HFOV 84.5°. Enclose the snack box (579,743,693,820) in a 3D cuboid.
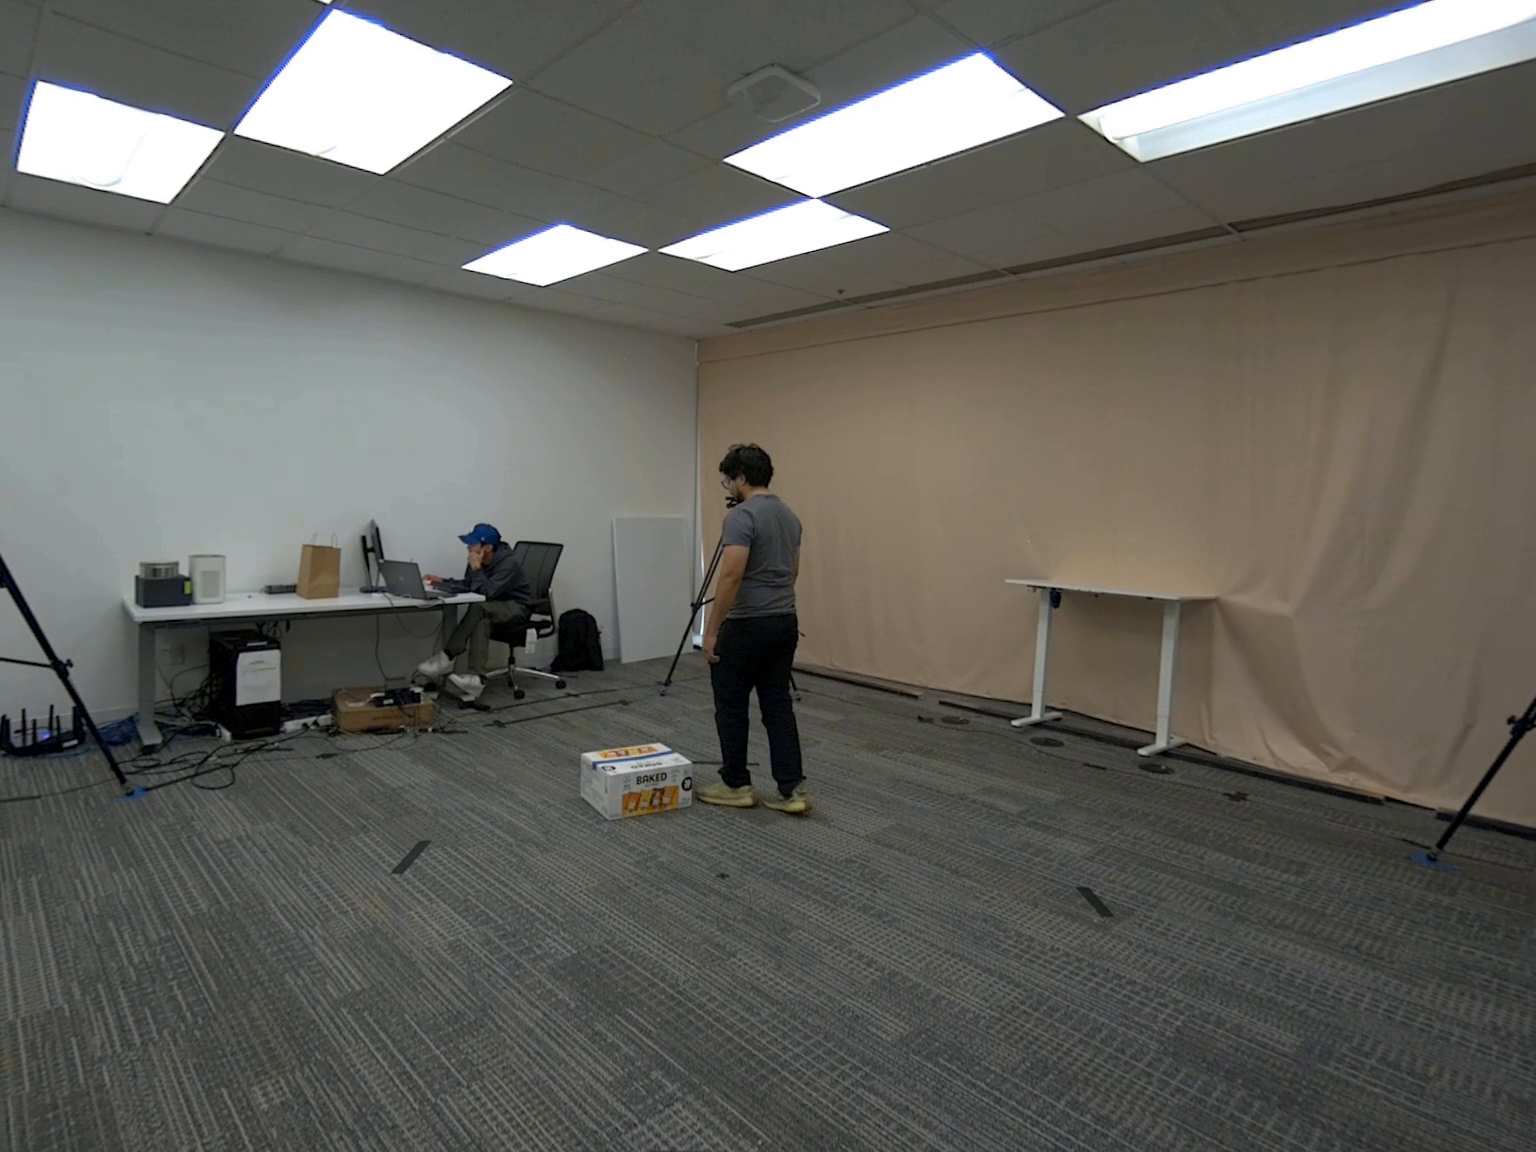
[{"bbox_3d":[-0.614,0.930,3.839,0.396,0.205,0.348,-1,5,-32],"label":"snack box"}]
